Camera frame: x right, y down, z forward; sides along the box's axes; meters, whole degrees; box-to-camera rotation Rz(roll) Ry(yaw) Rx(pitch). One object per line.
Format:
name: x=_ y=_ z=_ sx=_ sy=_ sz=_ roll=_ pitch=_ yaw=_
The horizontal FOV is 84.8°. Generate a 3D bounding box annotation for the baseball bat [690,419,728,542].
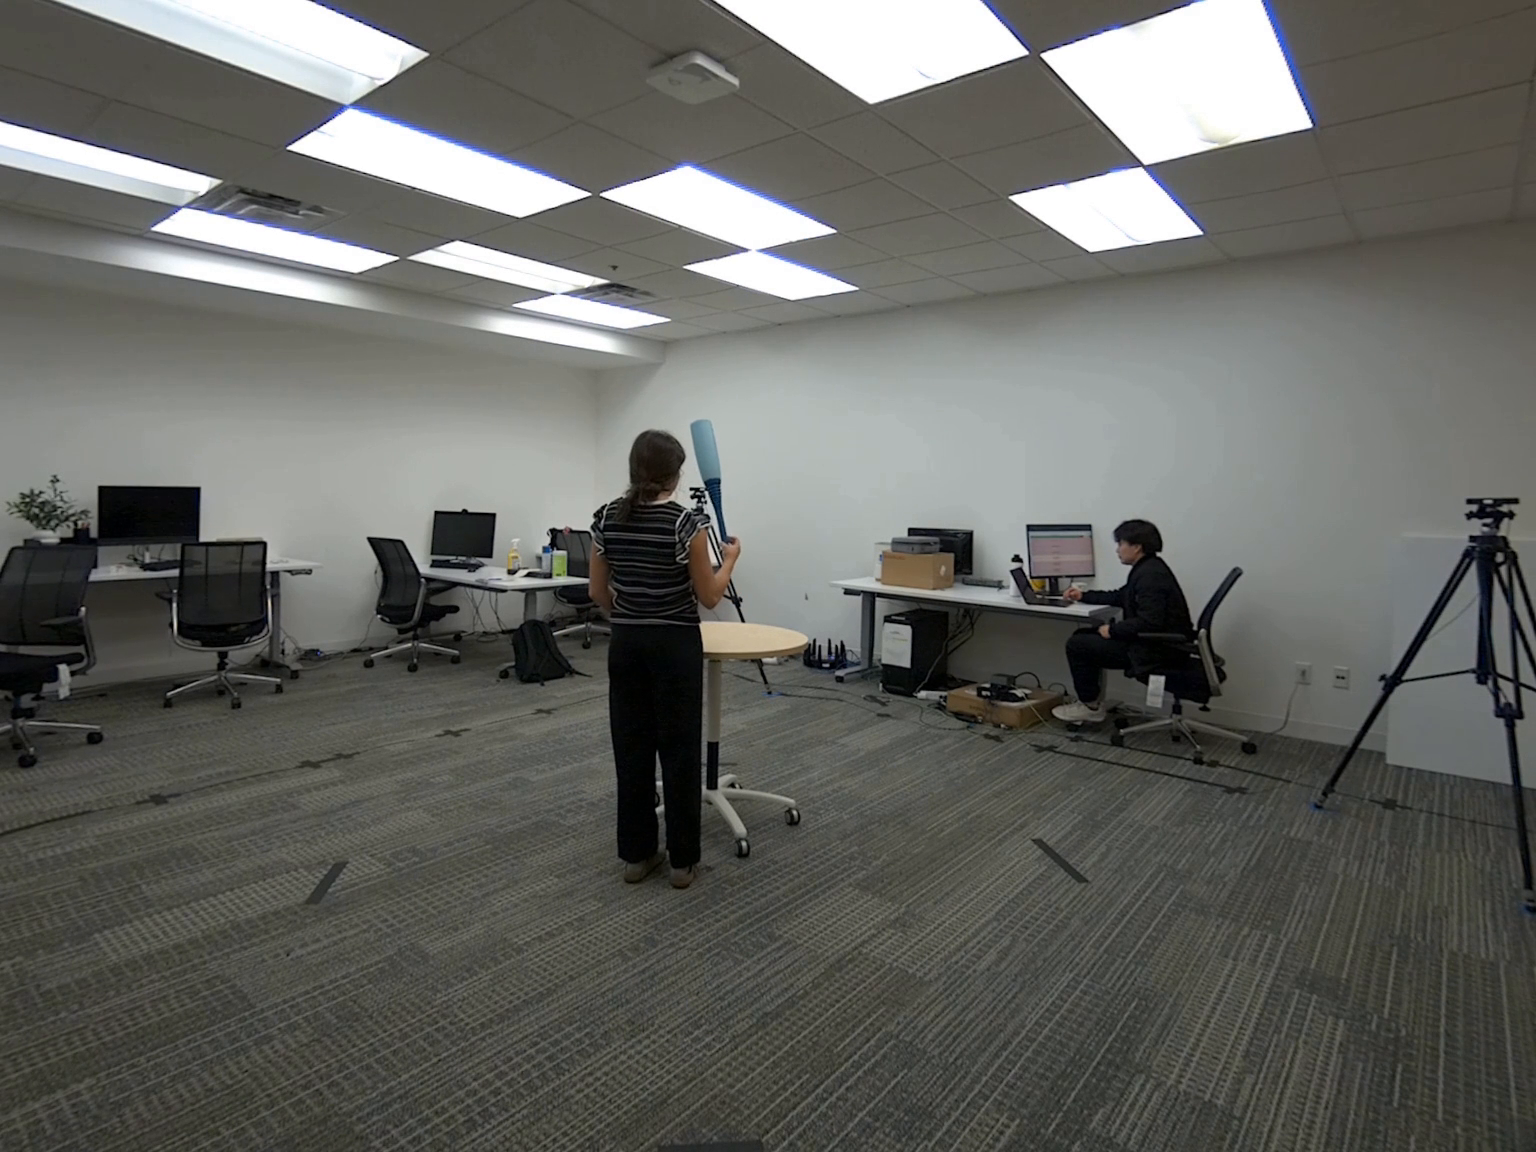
baseball bat: x=-0.213 y=-0.344 z=3.268 sx=0.089 sy=0.552 sz=0.088 roll=-10 pitch=-14 yaw=-4
